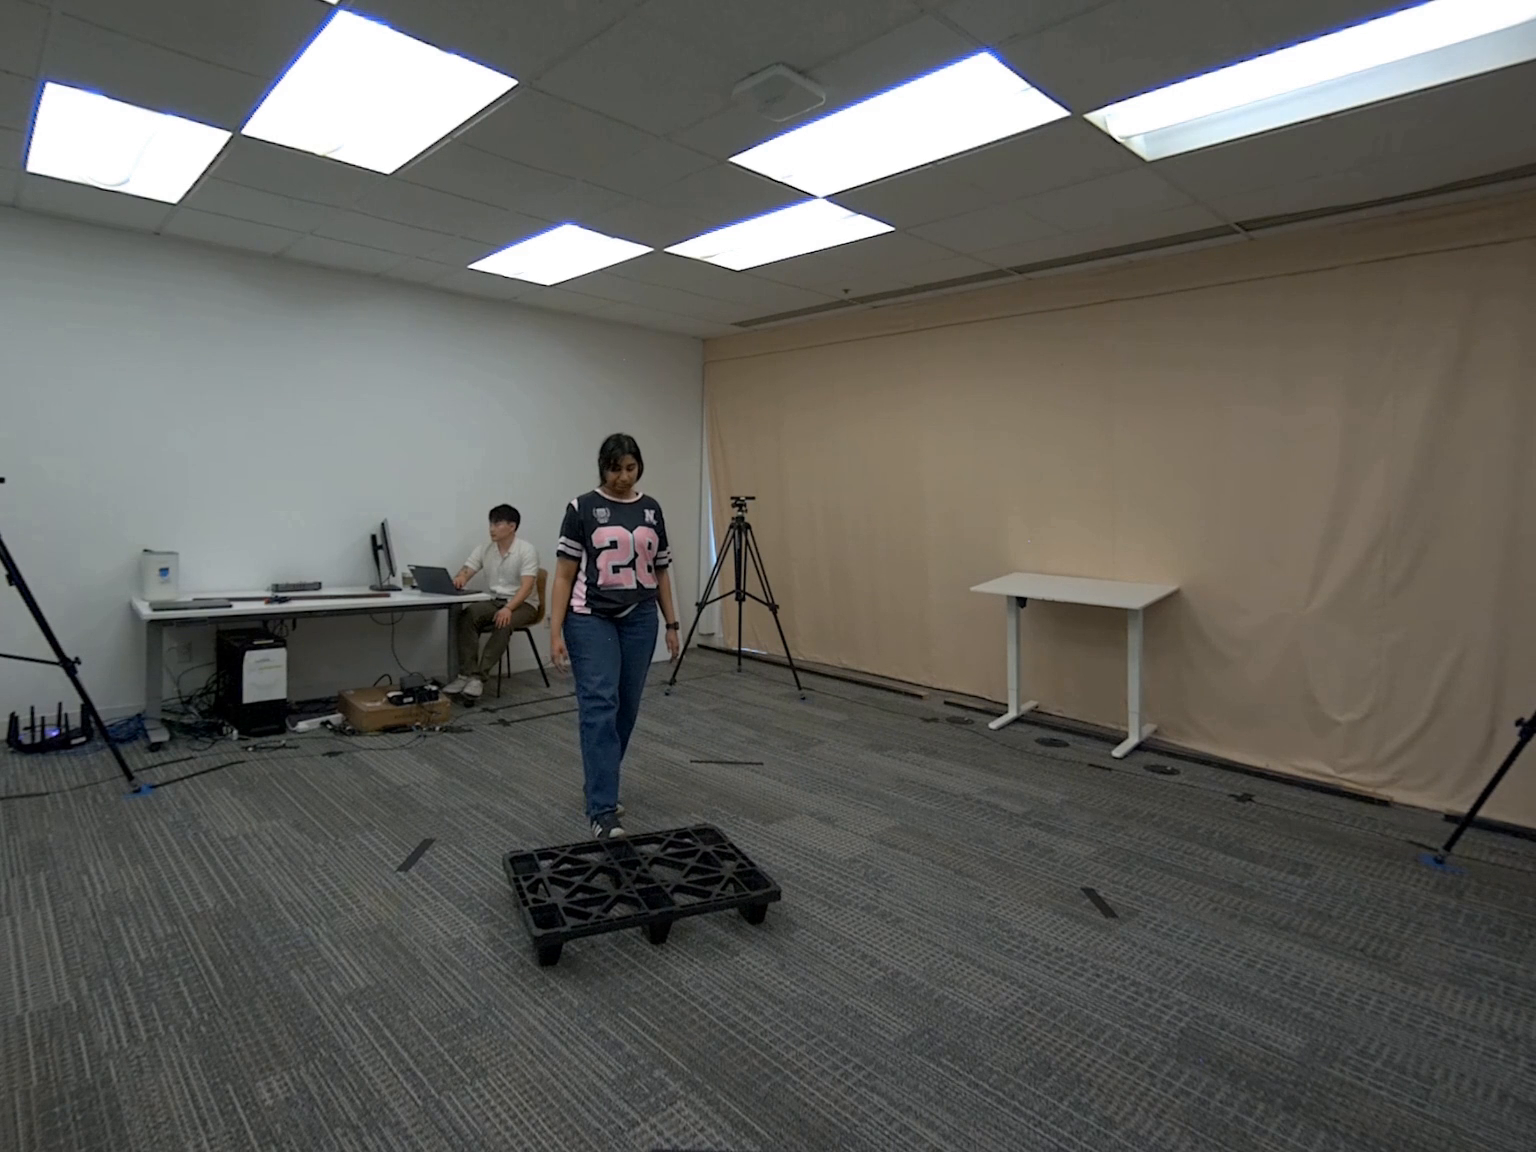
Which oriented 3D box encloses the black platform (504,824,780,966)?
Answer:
[{"bbox_3d":[-0.446,1.057,2.830,0.791,0.143,0.618,-1,6,-25],"label":"black platform"}]
